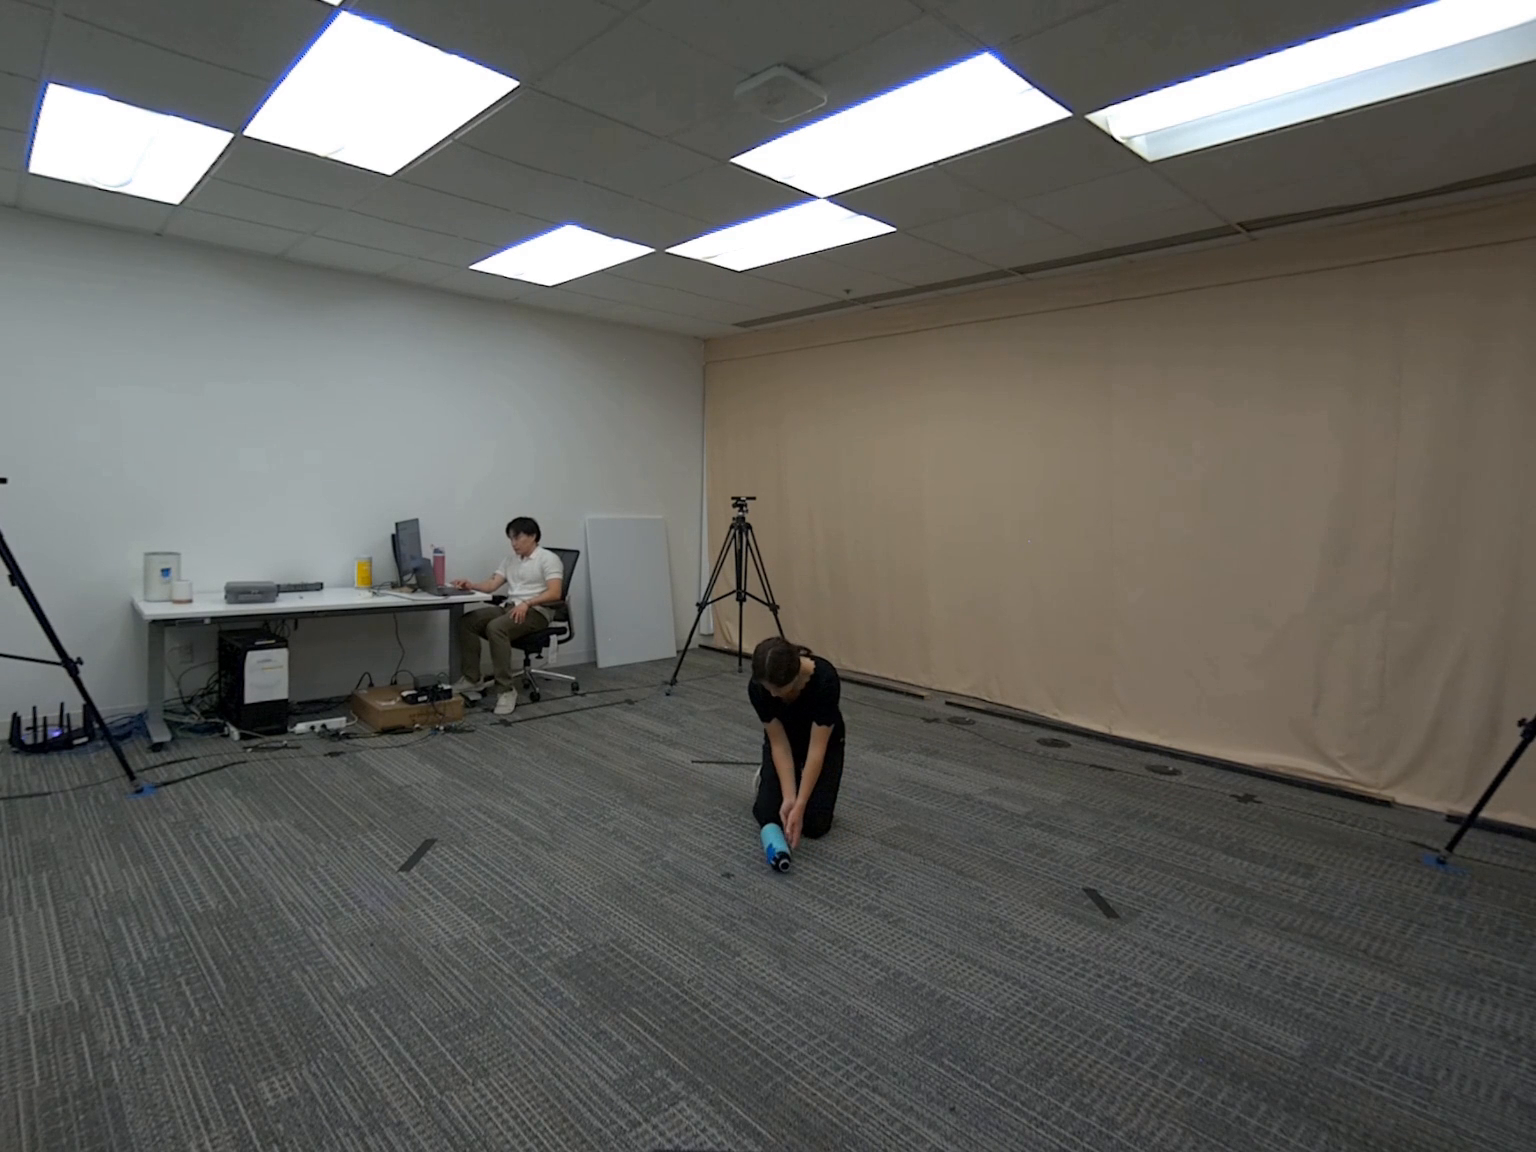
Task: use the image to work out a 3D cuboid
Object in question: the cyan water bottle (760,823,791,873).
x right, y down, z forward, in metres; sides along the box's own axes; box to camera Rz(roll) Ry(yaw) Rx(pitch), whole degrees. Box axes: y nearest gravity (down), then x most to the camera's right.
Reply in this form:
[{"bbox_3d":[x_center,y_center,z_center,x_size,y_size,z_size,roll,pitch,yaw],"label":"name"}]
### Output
[{"bbox_3d":[0.019,1.053,3.246,0.092,0.092,0.285,1,5,-4],"label":"cyan water bottle"}]
